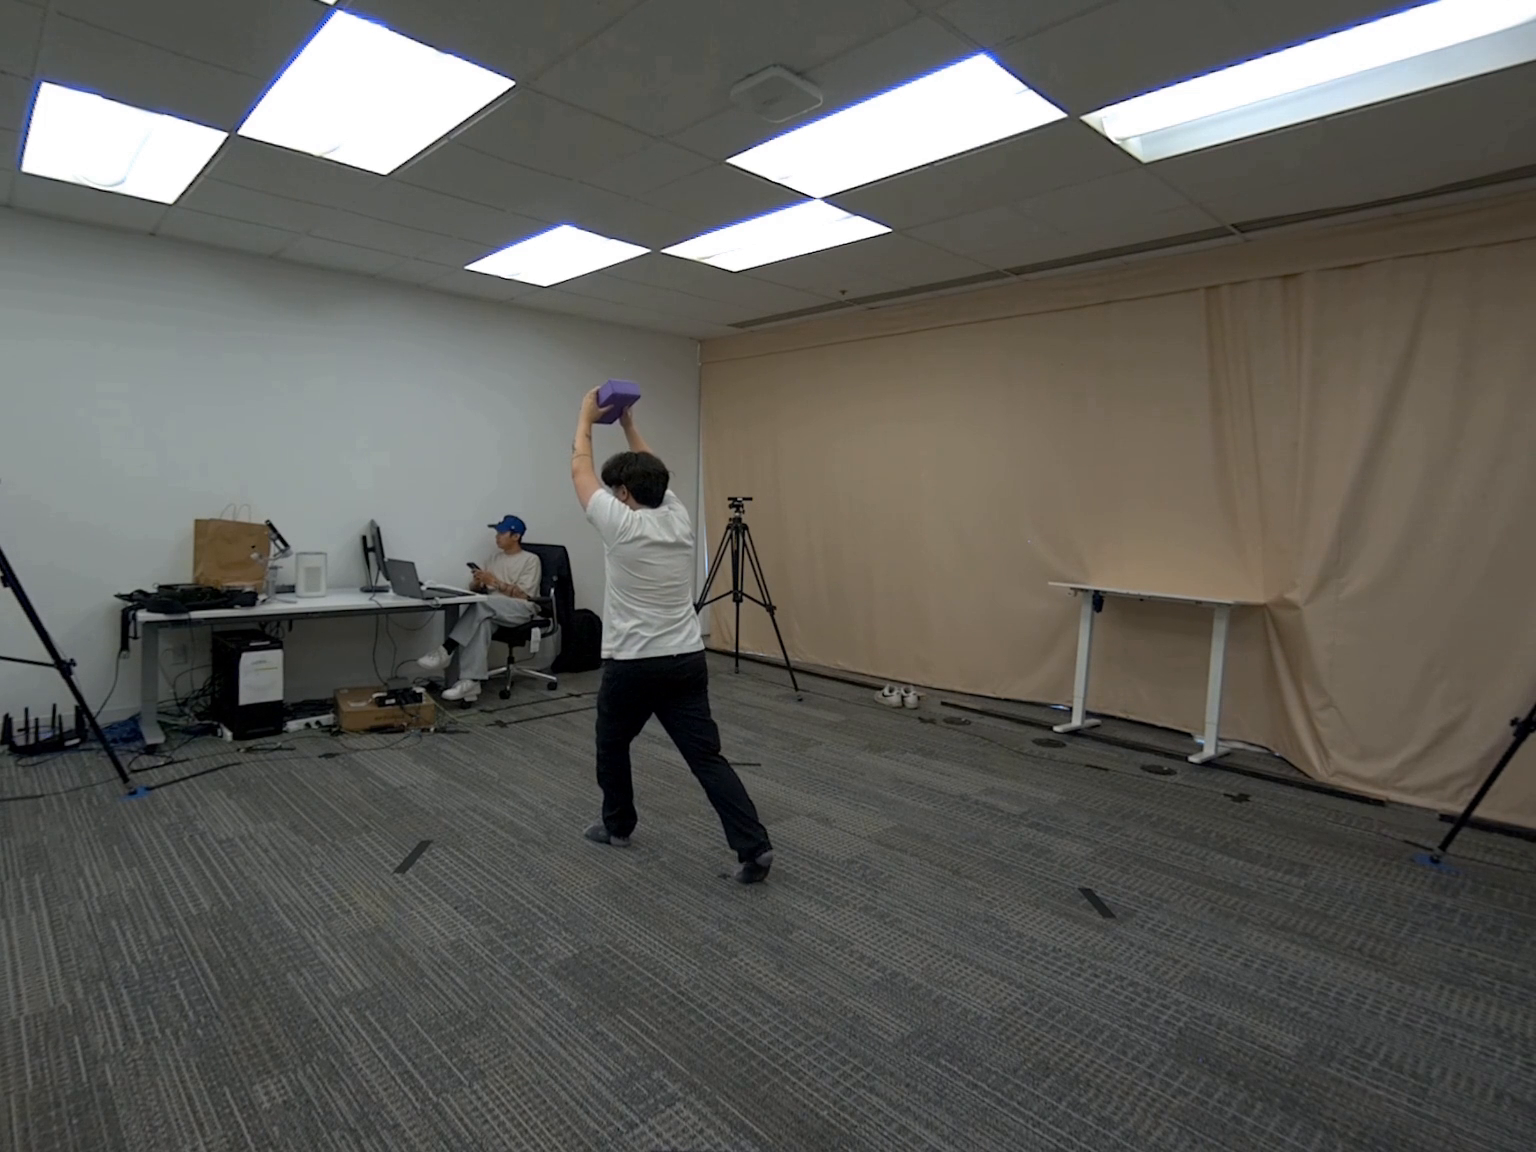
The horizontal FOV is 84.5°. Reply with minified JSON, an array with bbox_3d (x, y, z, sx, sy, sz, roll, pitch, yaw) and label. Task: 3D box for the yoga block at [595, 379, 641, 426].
[{"bbox_3d":[-0.643,-0.702,3.423,0.146,0.077,0.231,-5,-19,-48],"label":"yoga block"}]
